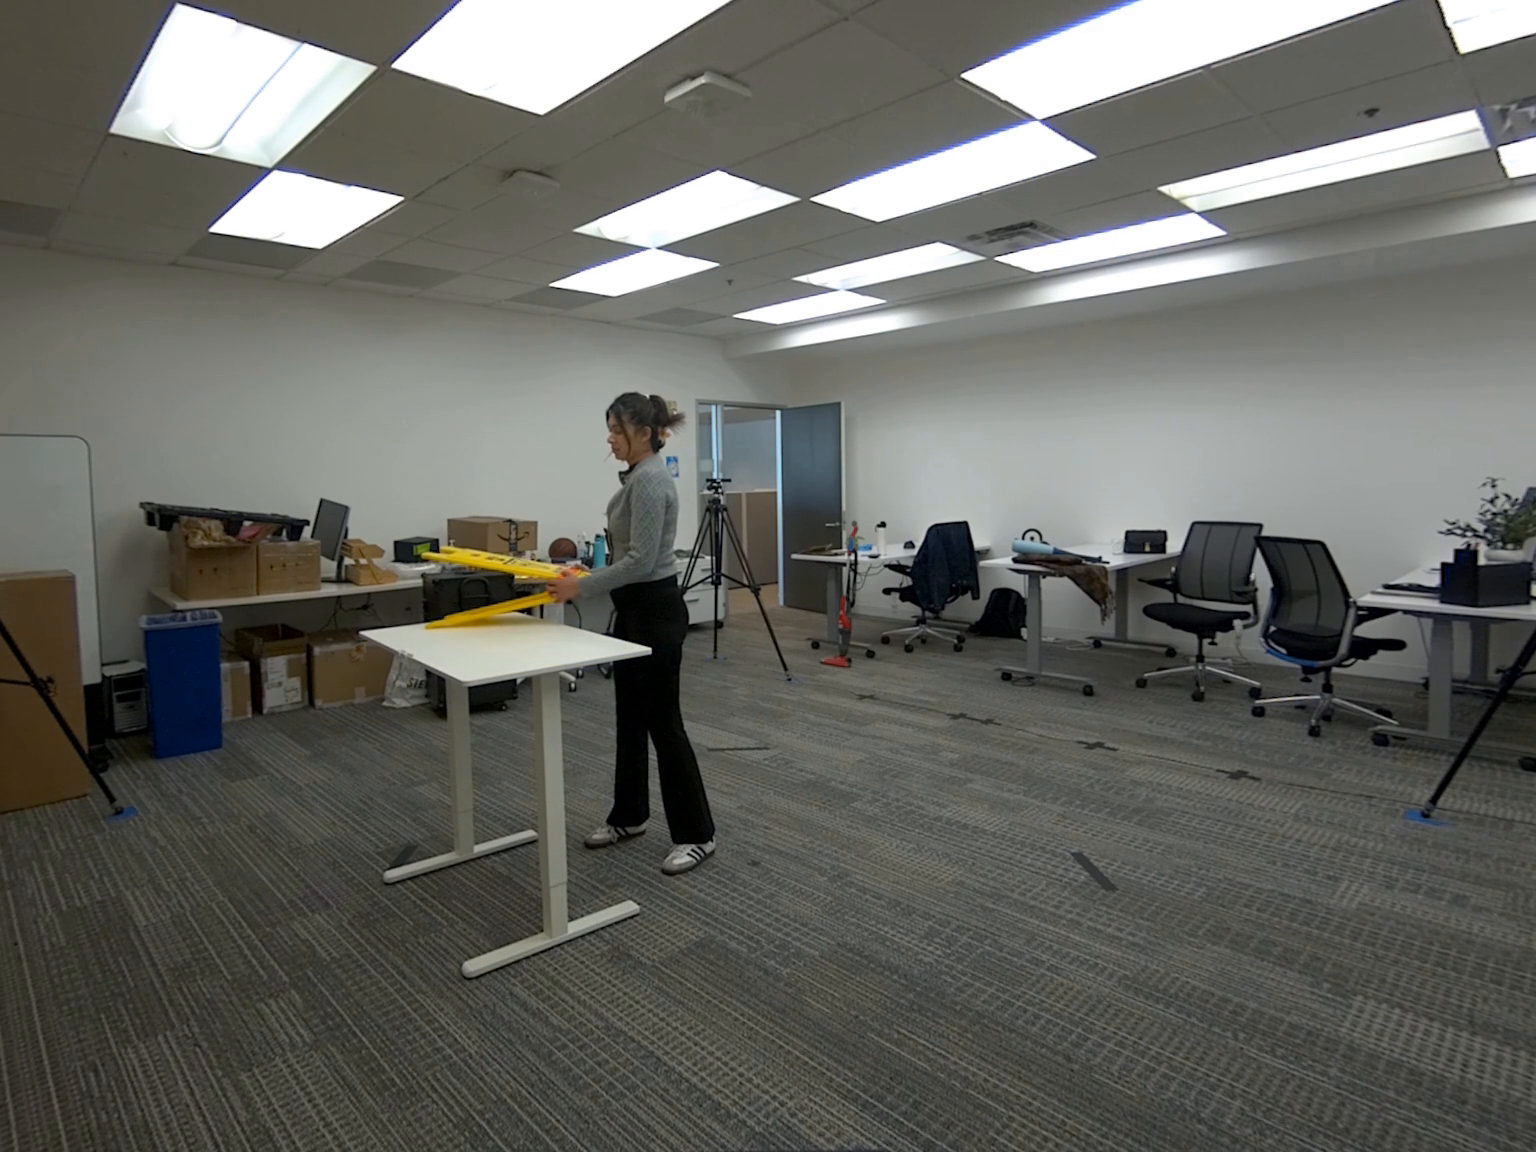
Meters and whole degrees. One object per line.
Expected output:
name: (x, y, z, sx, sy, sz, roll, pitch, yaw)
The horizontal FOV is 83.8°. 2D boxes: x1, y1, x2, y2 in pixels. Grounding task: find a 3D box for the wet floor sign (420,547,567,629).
wet floor sign: (-0.928, 0.029, 3.198, 0.645, 0.288, 0.284, -2, 5, -2)
